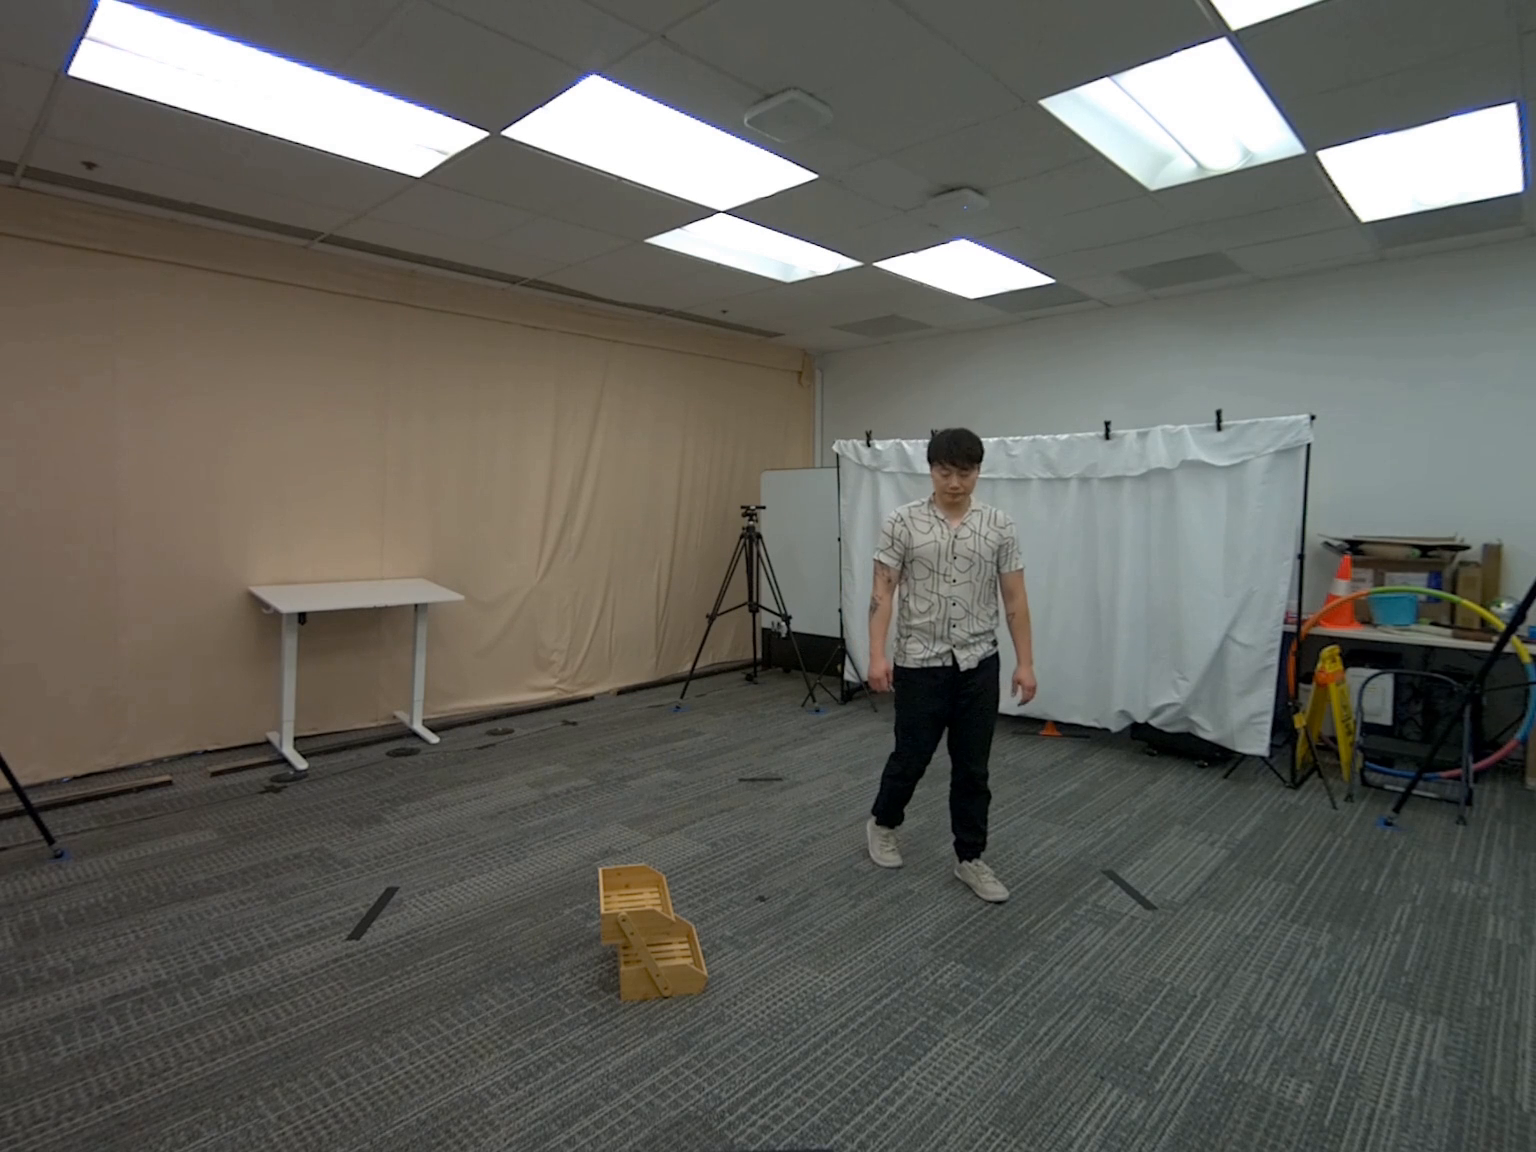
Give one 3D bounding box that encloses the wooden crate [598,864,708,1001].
[{"bbox_3d":[-0.347,1.047,2.523,0.299,0.273,0.329,-1,4,-11],"label":"wooden crate"}]
